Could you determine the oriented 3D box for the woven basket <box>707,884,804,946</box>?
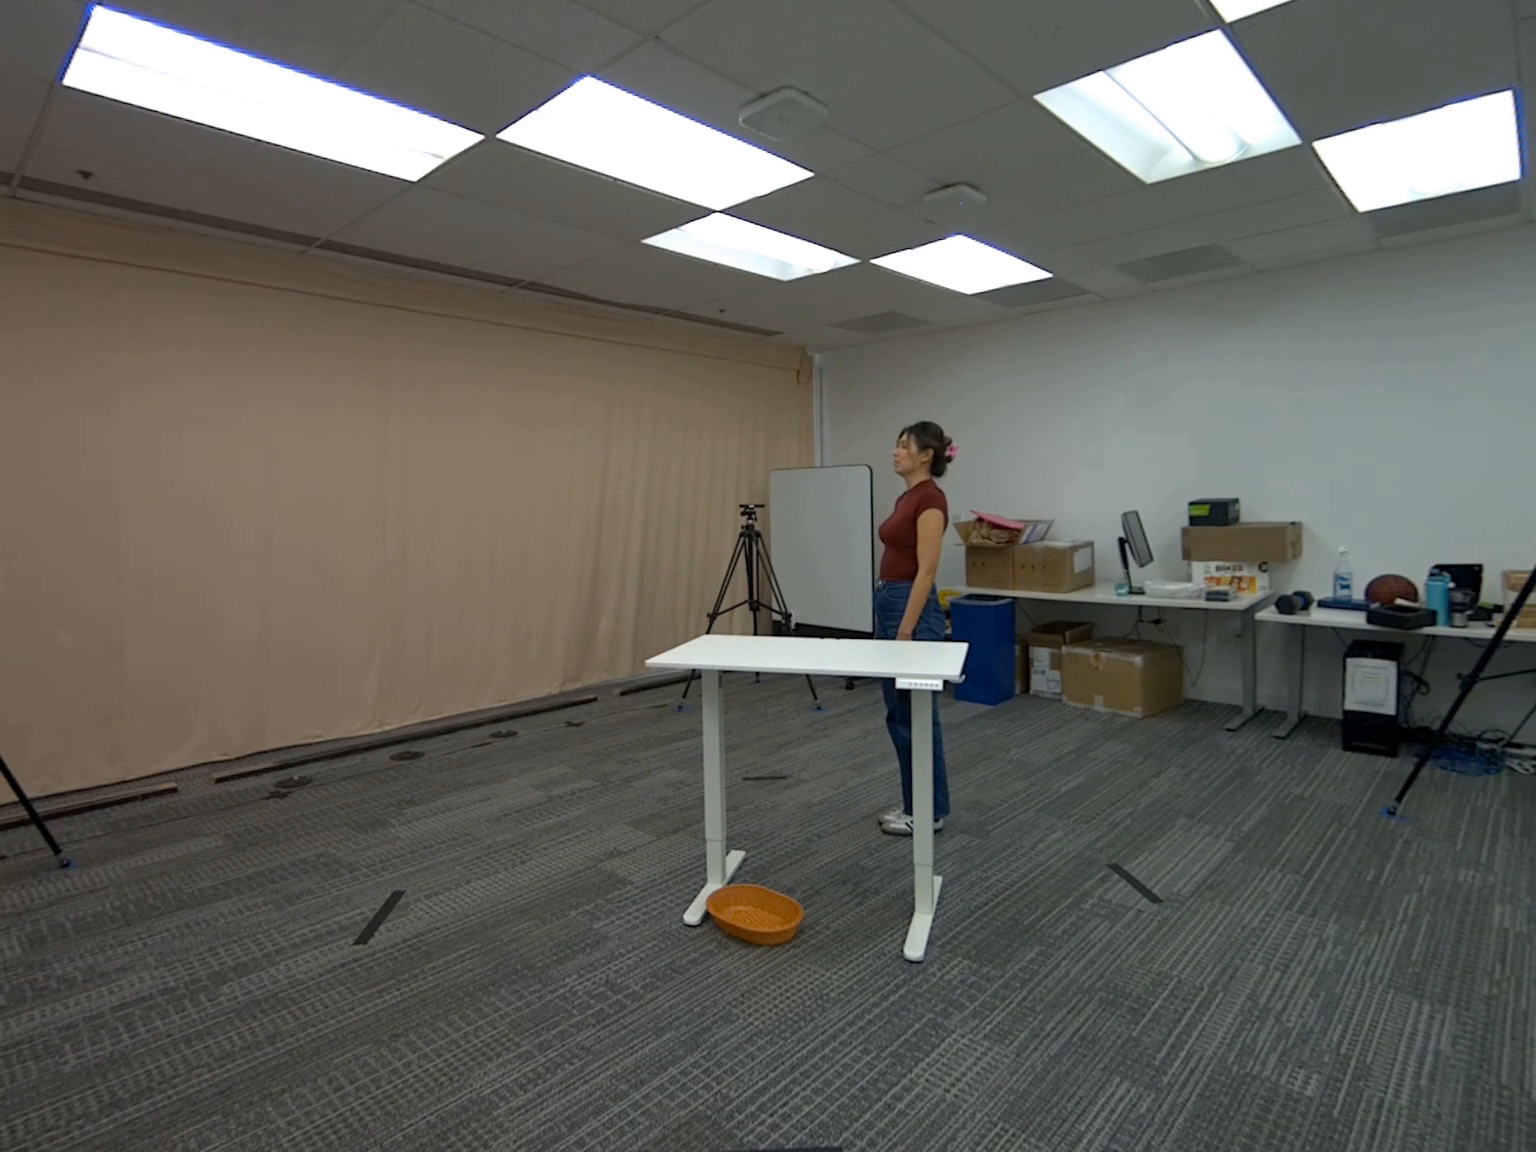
[{"bbox_3d":[-0.035,1.116,2.779,0.362,0.073,0.245,3,8,42],"label":"woven basket"}]
